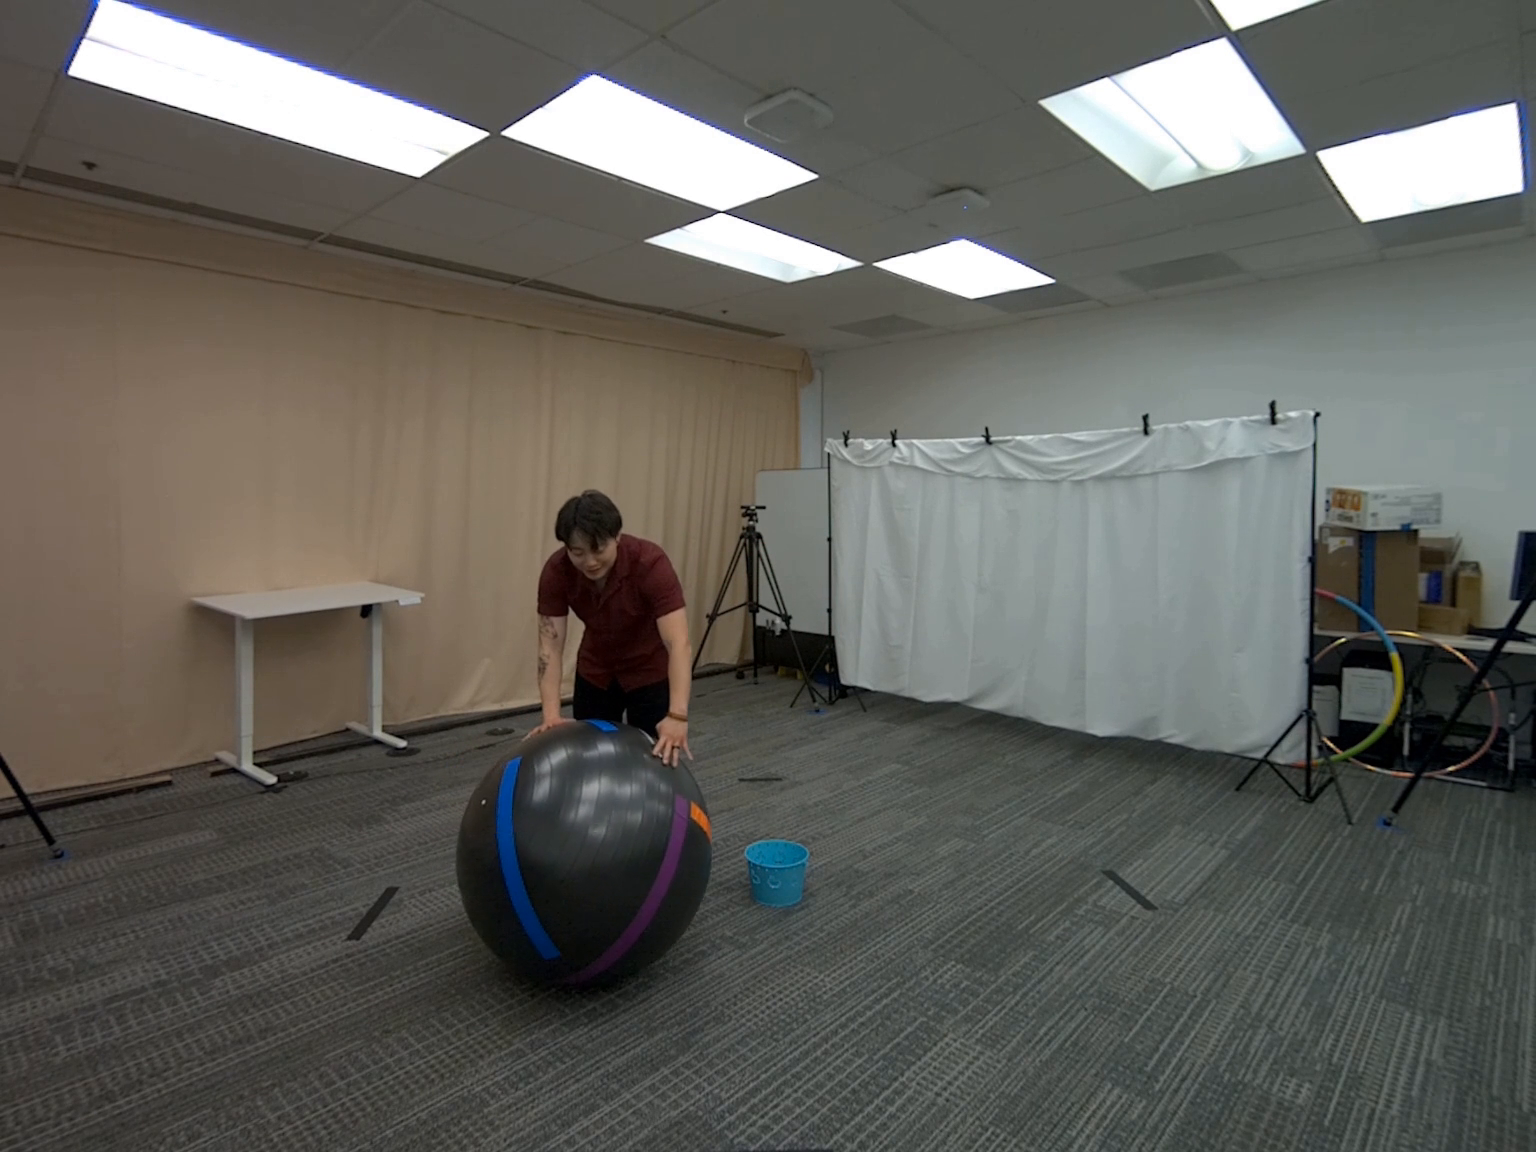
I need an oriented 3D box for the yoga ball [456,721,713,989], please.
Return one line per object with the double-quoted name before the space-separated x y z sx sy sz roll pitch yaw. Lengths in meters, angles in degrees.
"yoga ball" -0.554 0.829 2.538 0.757 0.756 0.760 0 4 -2
